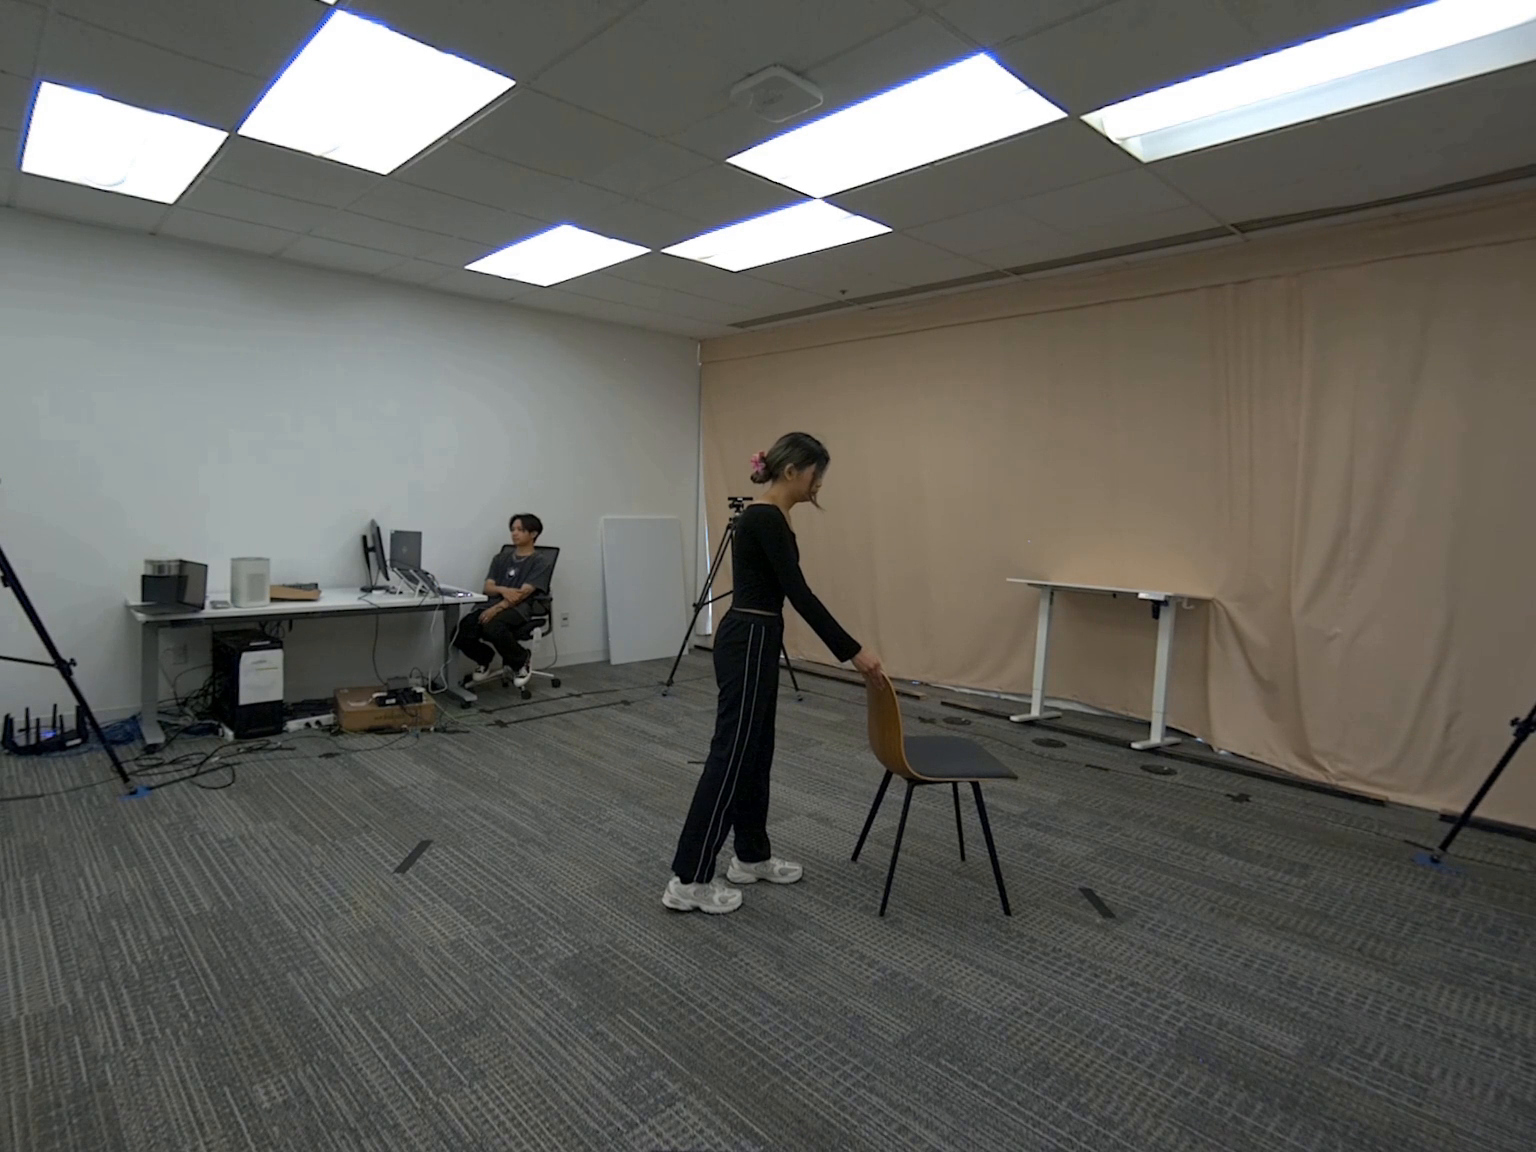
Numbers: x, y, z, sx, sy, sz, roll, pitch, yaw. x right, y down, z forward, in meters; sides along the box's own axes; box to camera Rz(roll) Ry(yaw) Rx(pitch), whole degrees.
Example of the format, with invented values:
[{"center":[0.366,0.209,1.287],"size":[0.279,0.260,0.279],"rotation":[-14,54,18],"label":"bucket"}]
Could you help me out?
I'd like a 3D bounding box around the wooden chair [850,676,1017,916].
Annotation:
[{"center":[0.587,0.701,3.036],"size":[0.521,0.875,0.481],"rotation":[-3,3,-5],"label":"wooden chair"}]
